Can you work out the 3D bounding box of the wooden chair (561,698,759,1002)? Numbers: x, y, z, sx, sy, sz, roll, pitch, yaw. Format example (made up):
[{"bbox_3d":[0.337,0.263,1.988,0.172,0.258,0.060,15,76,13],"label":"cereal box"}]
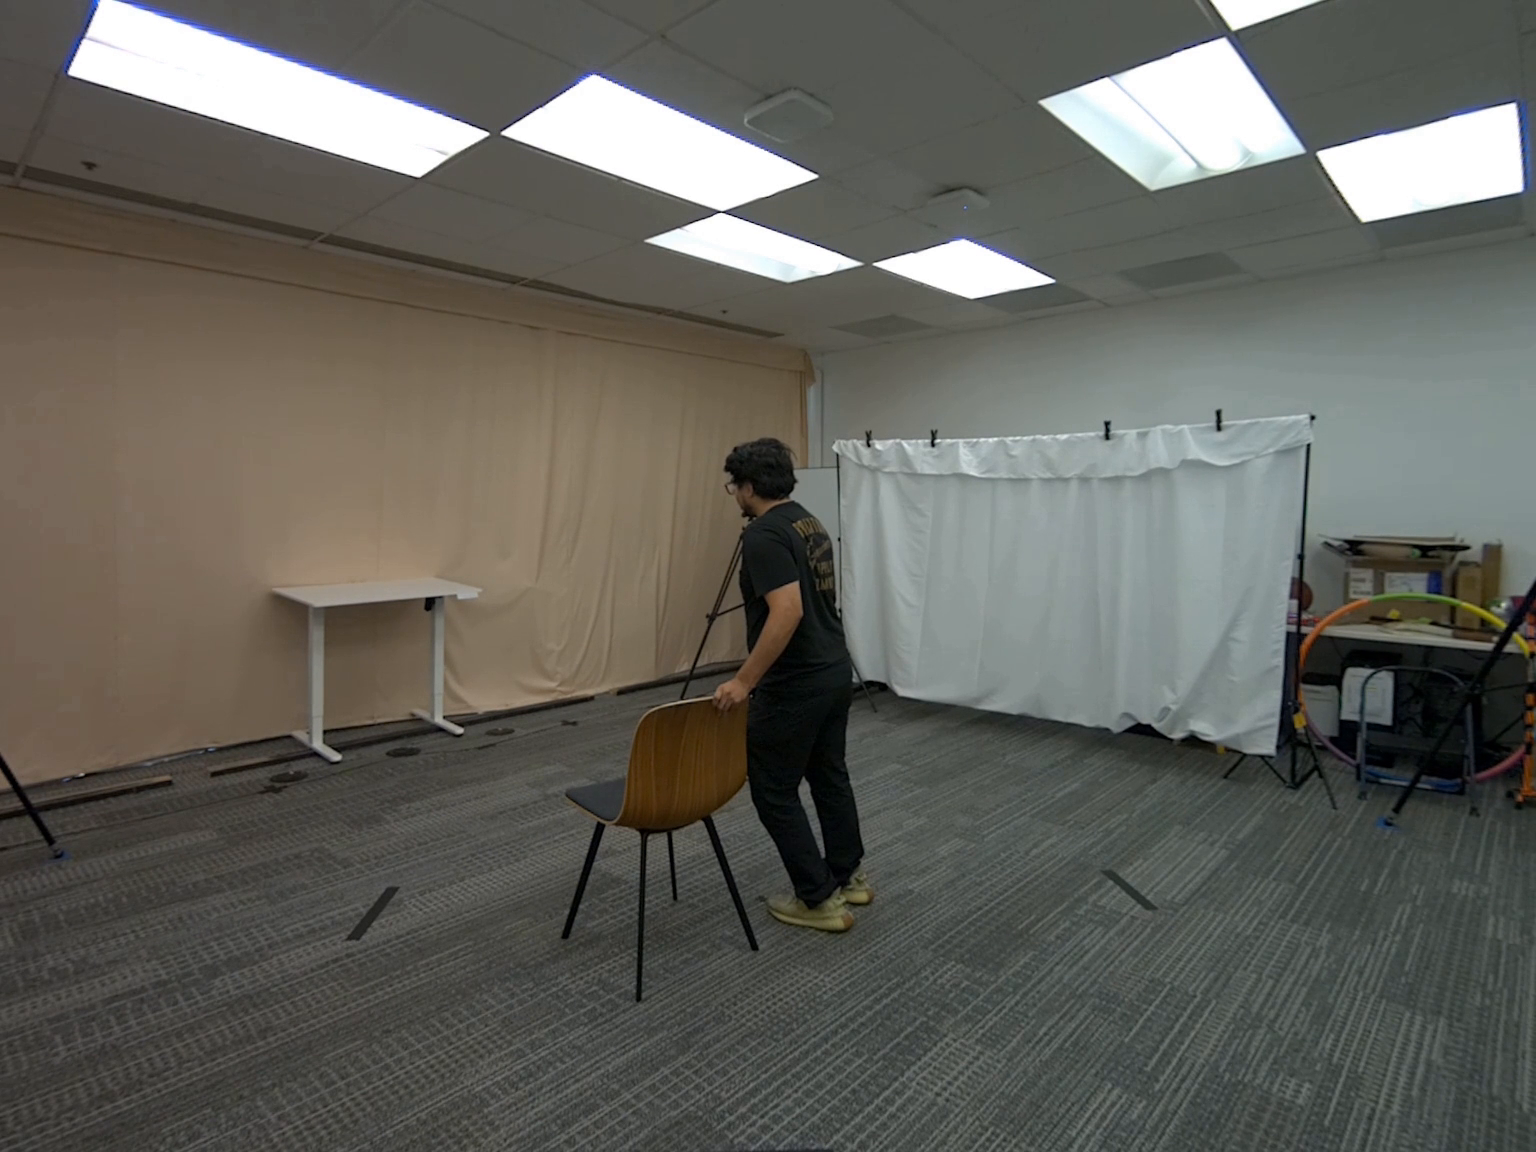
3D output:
[{"bbox_3d":[-0.356,0.749,2.651,0.463,0.874,0.541,-2,8,-40],"label":"wooden chair"}]
